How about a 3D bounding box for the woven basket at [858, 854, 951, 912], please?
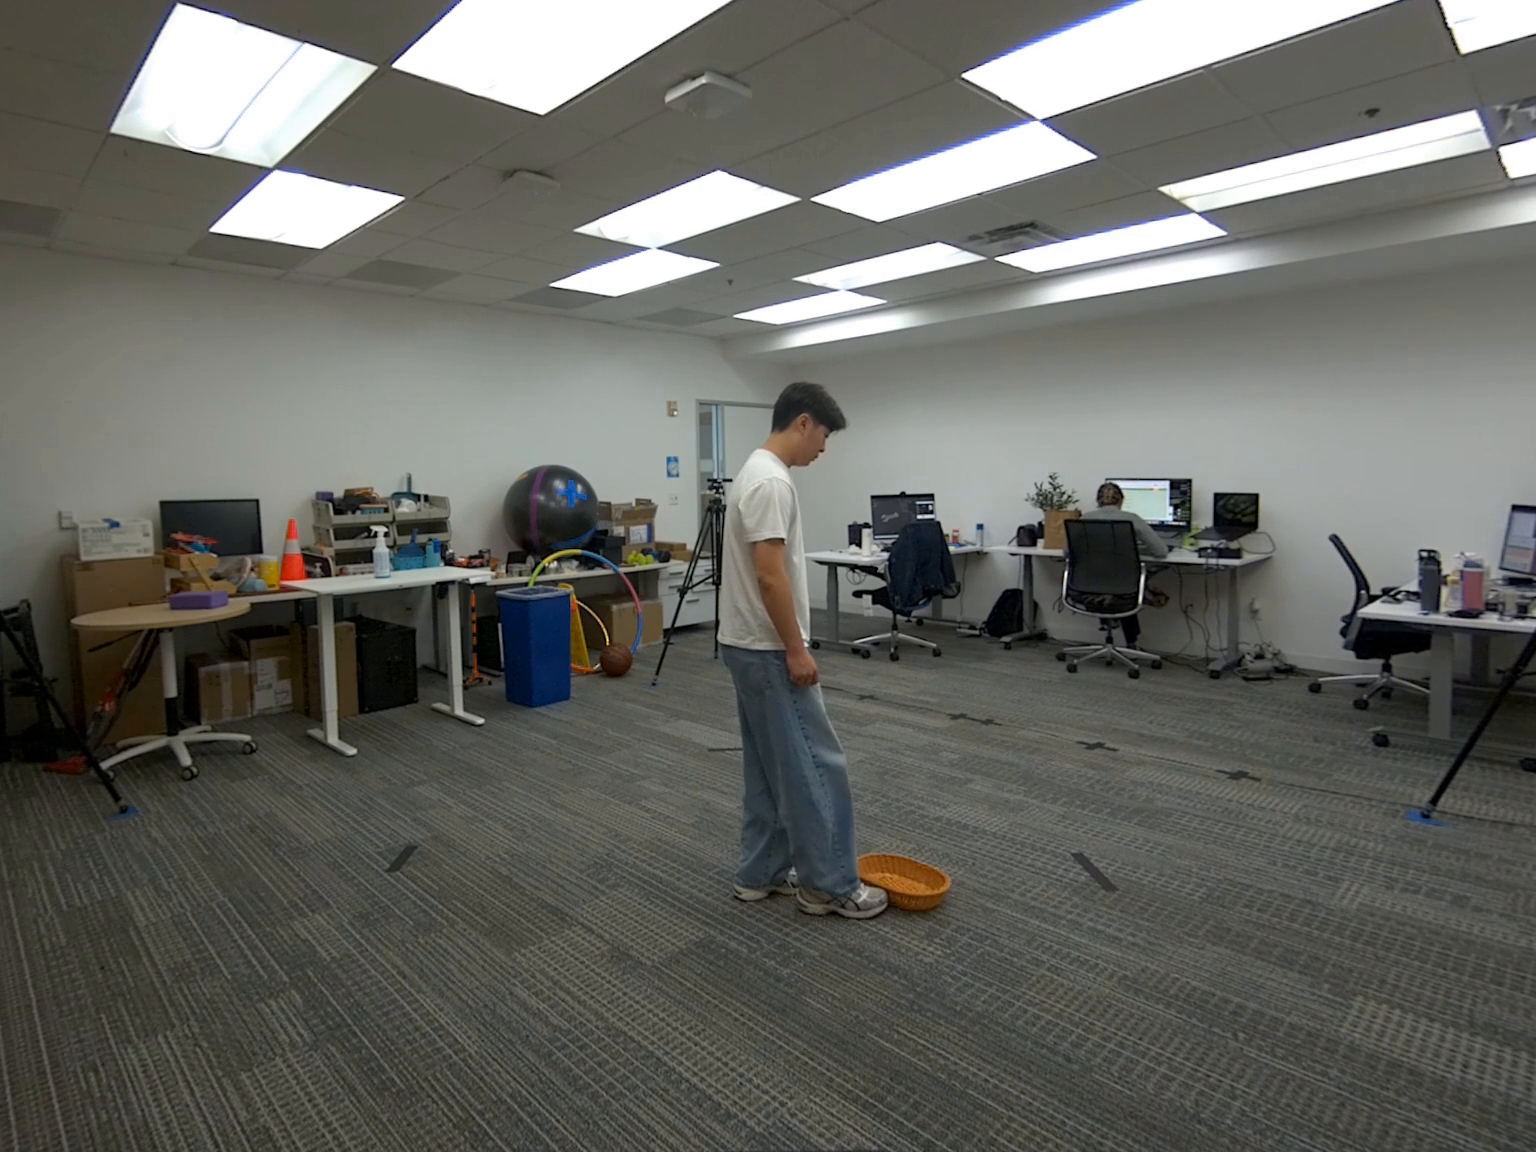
[{"bbox_3d":[0.437,1.020,2.865,0.361,0.073,0.245,4,6,42],"label":"woven basket"}]
